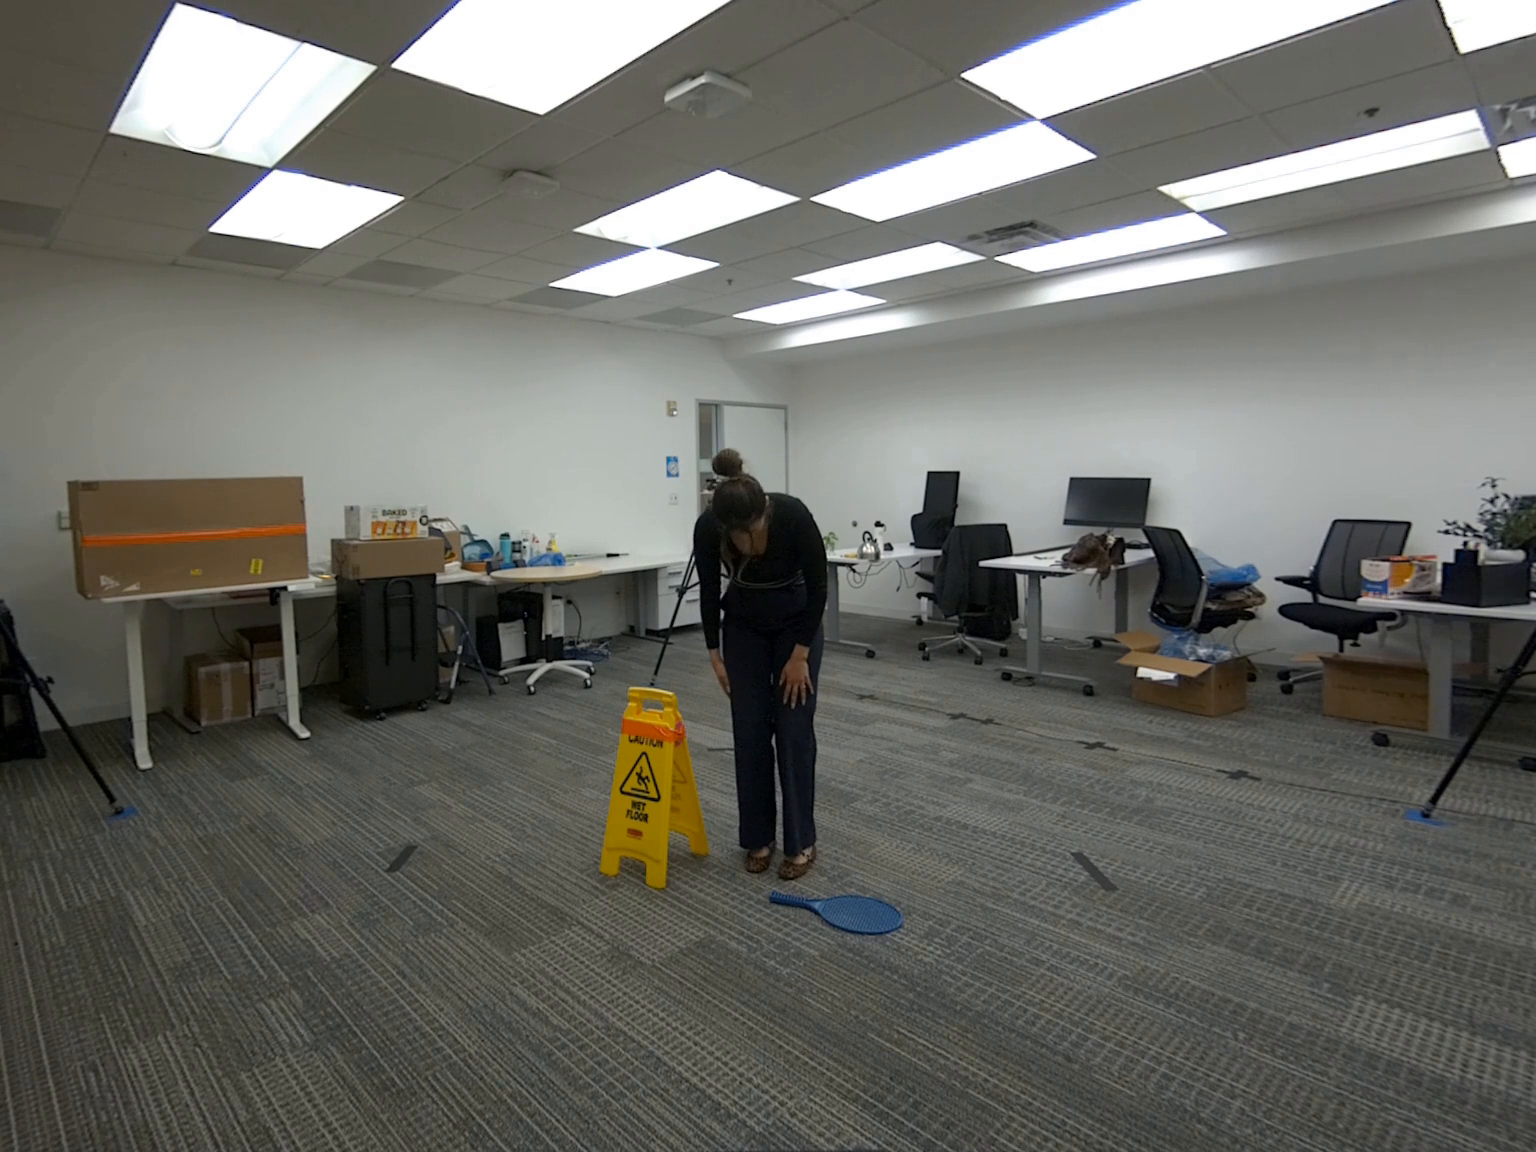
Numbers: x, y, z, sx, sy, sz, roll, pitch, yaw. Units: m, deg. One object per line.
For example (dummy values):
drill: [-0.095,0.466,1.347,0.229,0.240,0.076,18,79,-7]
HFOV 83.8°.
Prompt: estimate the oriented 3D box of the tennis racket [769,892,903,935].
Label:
tennis racket: [0.219,1.066,2.750,0.443,0.031,0.210,3,7,23]
